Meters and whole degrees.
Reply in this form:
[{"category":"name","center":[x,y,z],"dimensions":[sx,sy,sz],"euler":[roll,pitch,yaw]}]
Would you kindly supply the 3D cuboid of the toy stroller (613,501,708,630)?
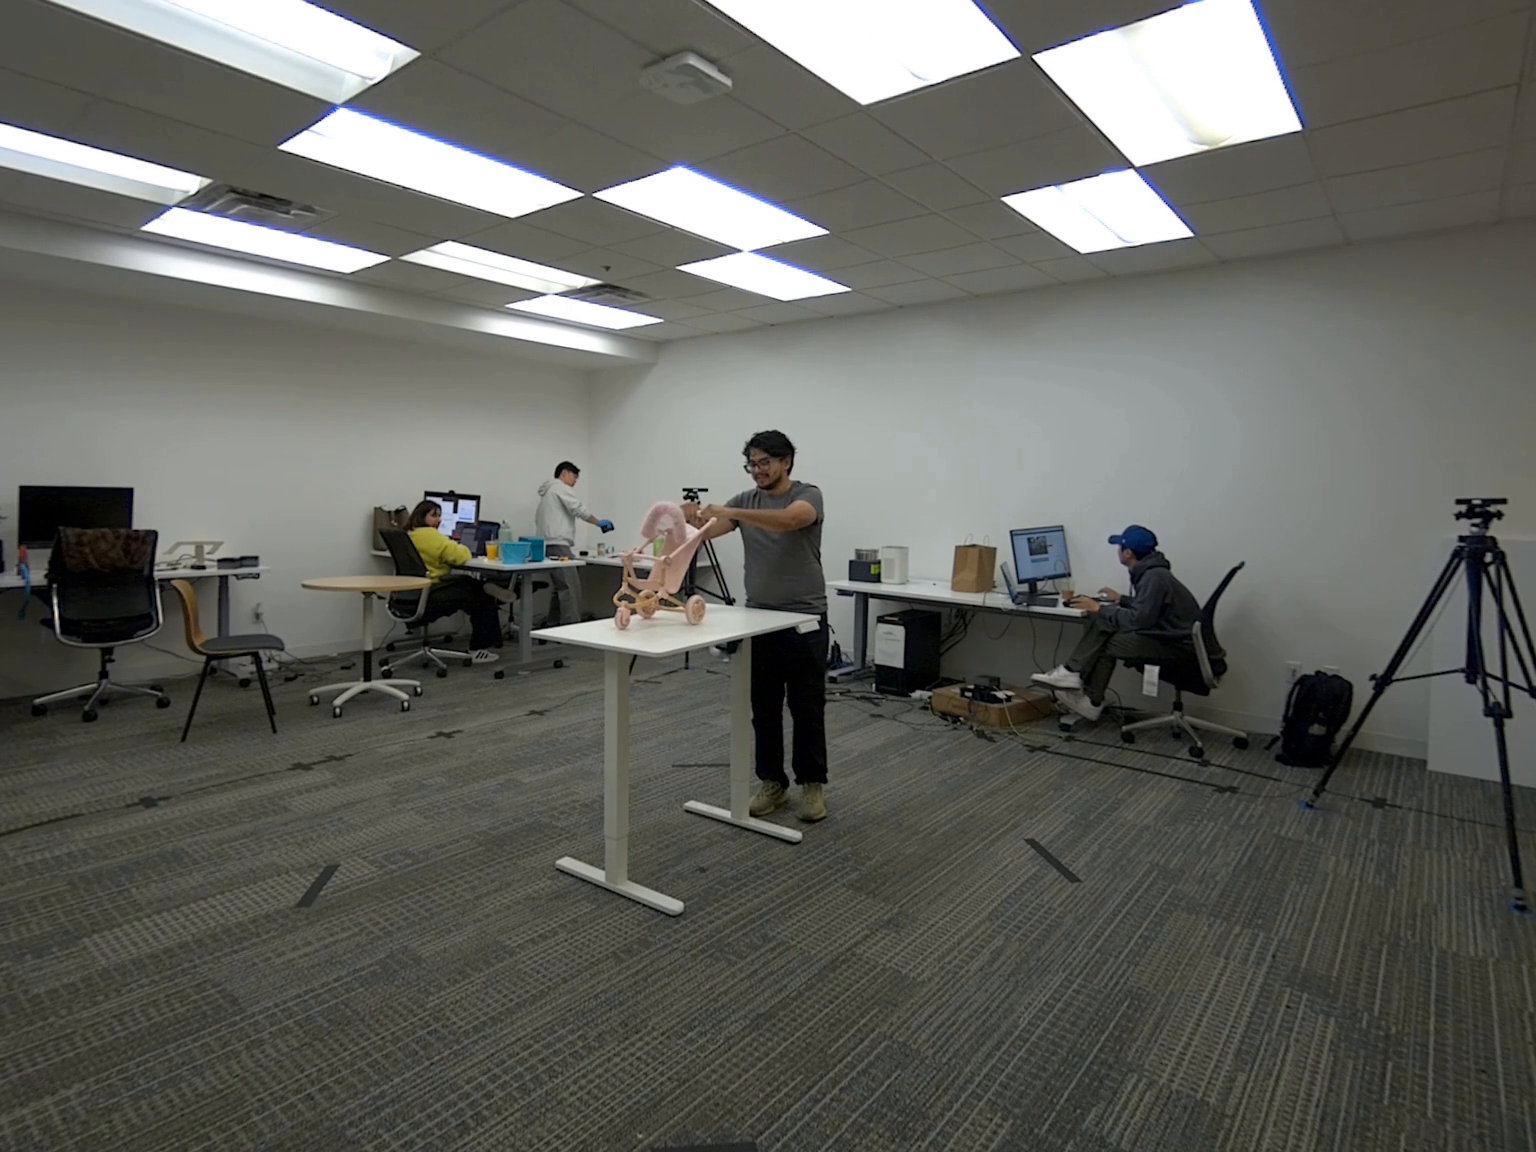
[{"category":"toy stroller","center":[-0.410,-0.048,3.198],"dimensions":[0.291,0.538,0.328],"euler":[4,-11,40]}]
